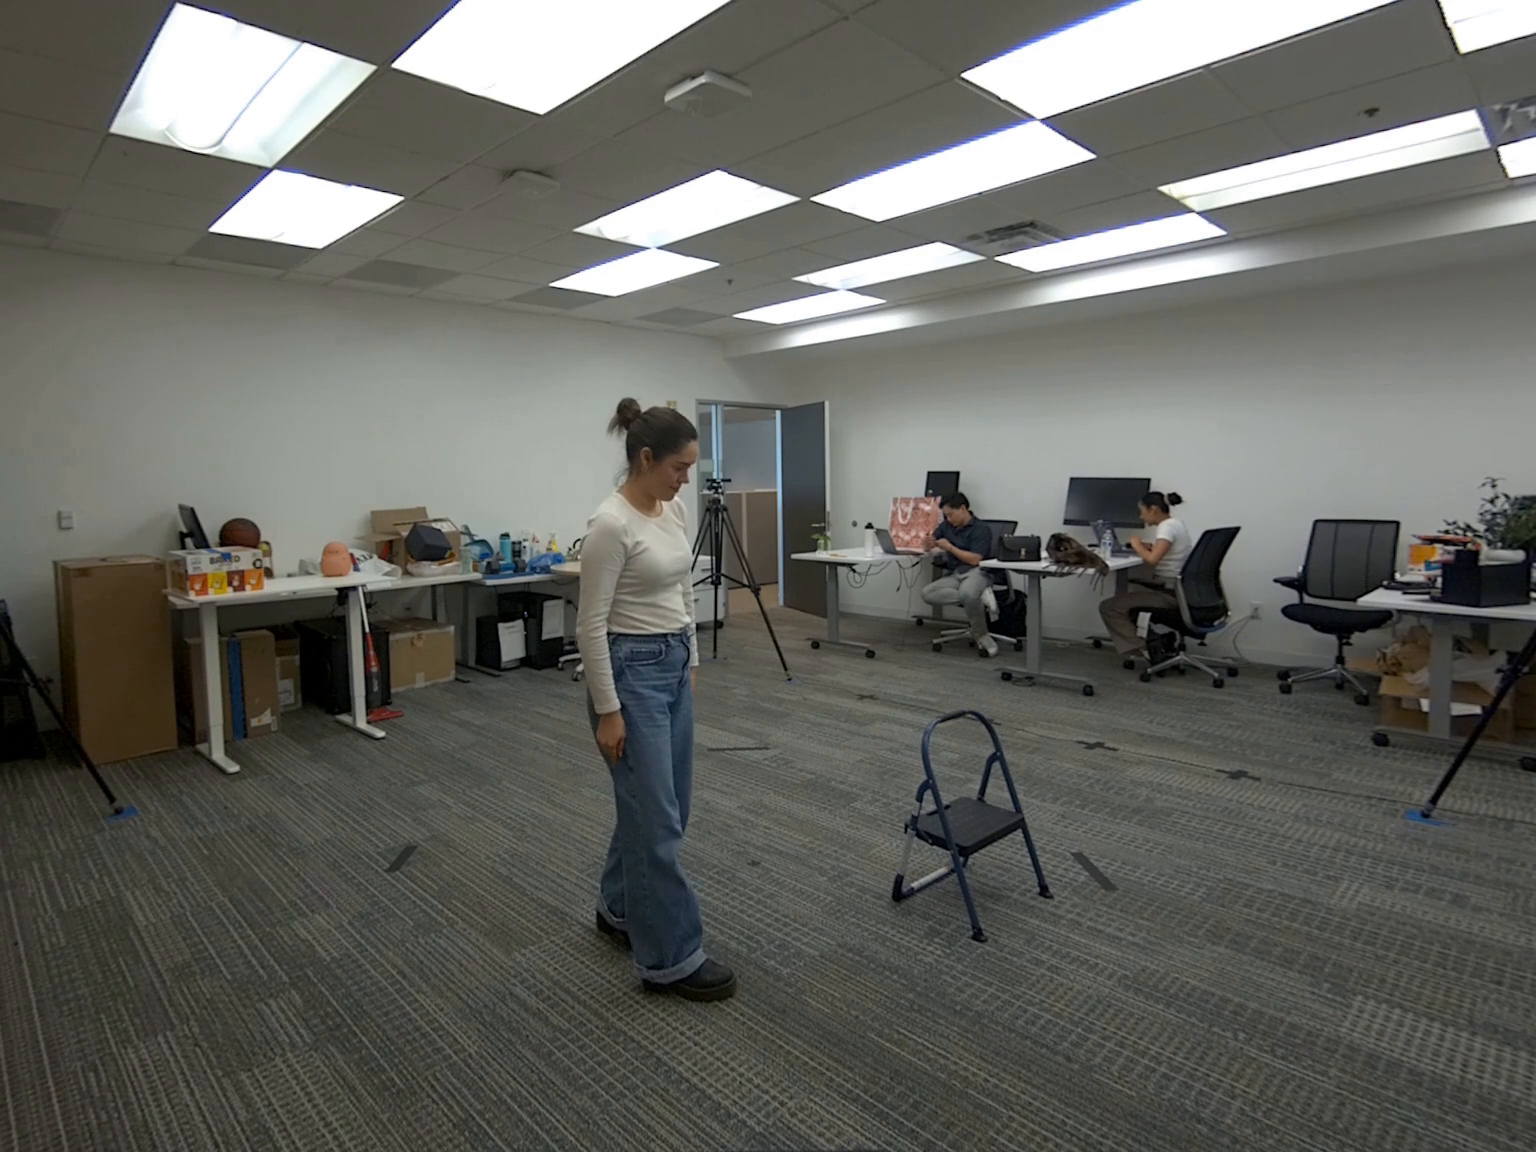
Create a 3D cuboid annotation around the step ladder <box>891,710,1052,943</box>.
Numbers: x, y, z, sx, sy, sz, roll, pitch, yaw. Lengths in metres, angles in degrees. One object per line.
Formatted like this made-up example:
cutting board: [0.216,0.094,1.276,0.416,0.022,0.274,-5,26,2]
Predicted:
step ladder: [0.671,0.763,2.801,0.419,0.604,0.360,-4,6,-43]
